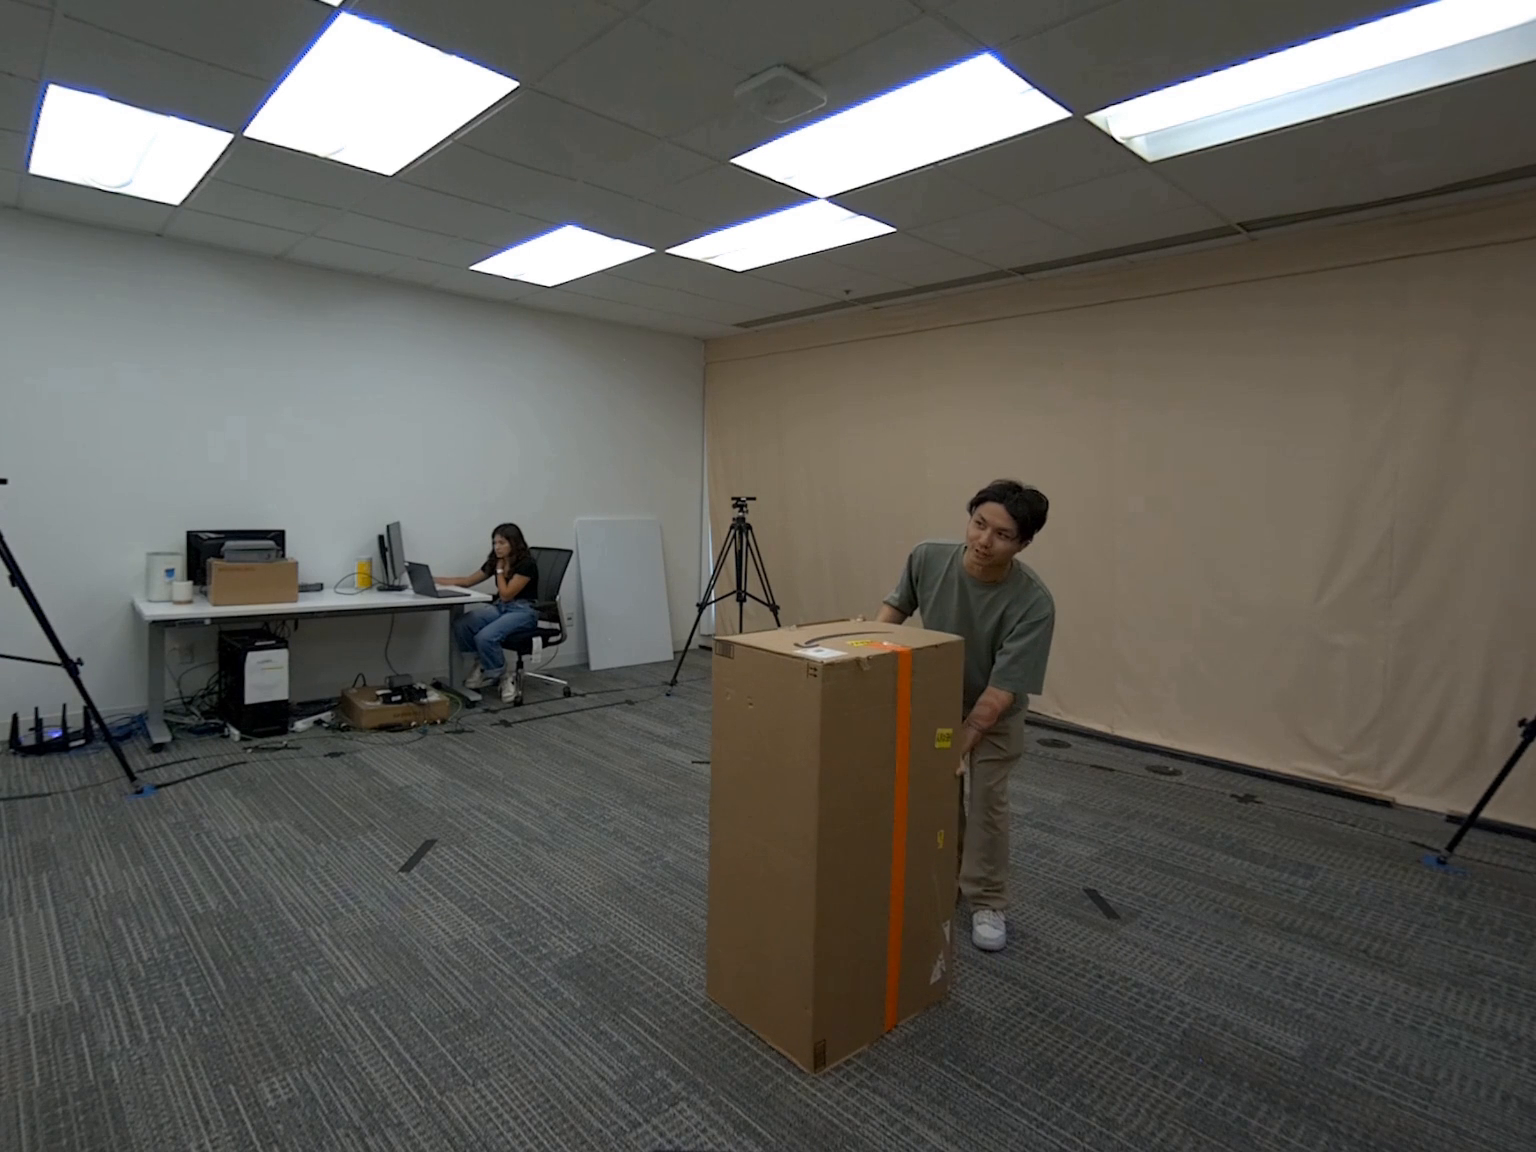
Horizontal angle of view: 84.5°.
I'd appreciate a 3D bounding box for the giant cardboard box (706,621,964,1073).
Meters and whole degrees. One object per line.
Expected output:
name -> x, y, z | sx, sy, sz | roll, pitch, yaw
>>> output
giant cardboard box -> 0.182, 0.681, 2.340 | 0.564, 1.023, 0.437 | -2, 5, -41
